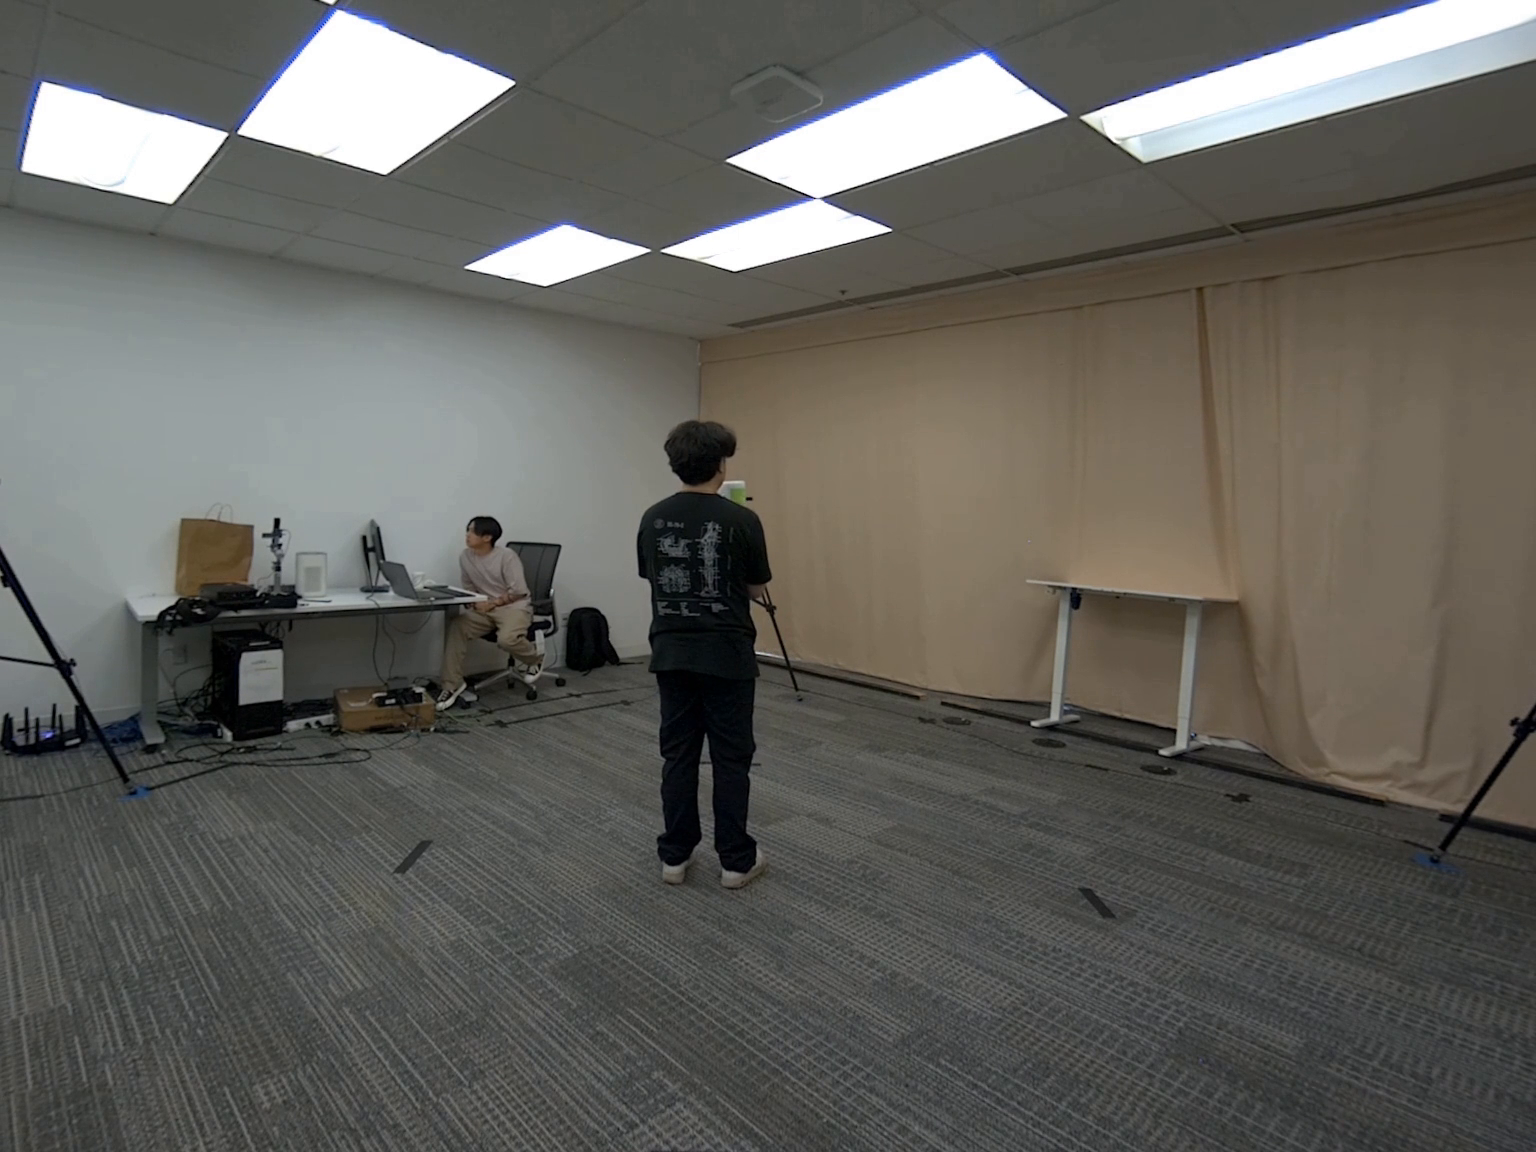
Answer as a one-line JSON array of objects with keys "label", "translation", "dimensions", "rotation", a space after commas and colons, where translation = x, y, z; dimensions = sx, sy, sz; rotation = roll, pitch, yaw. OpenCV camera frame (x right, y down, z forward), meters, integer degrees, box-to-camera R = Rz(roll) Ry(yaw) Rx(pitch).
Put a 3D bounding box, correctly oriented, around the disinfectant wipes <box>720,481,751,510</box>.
[{"label": "disinfectant wipes", "translation": [-0.131, -0.265, 3.359], "dimensions": [0.118, 0.217, 0.118], "rotation": [-1, 4, -1]}]
